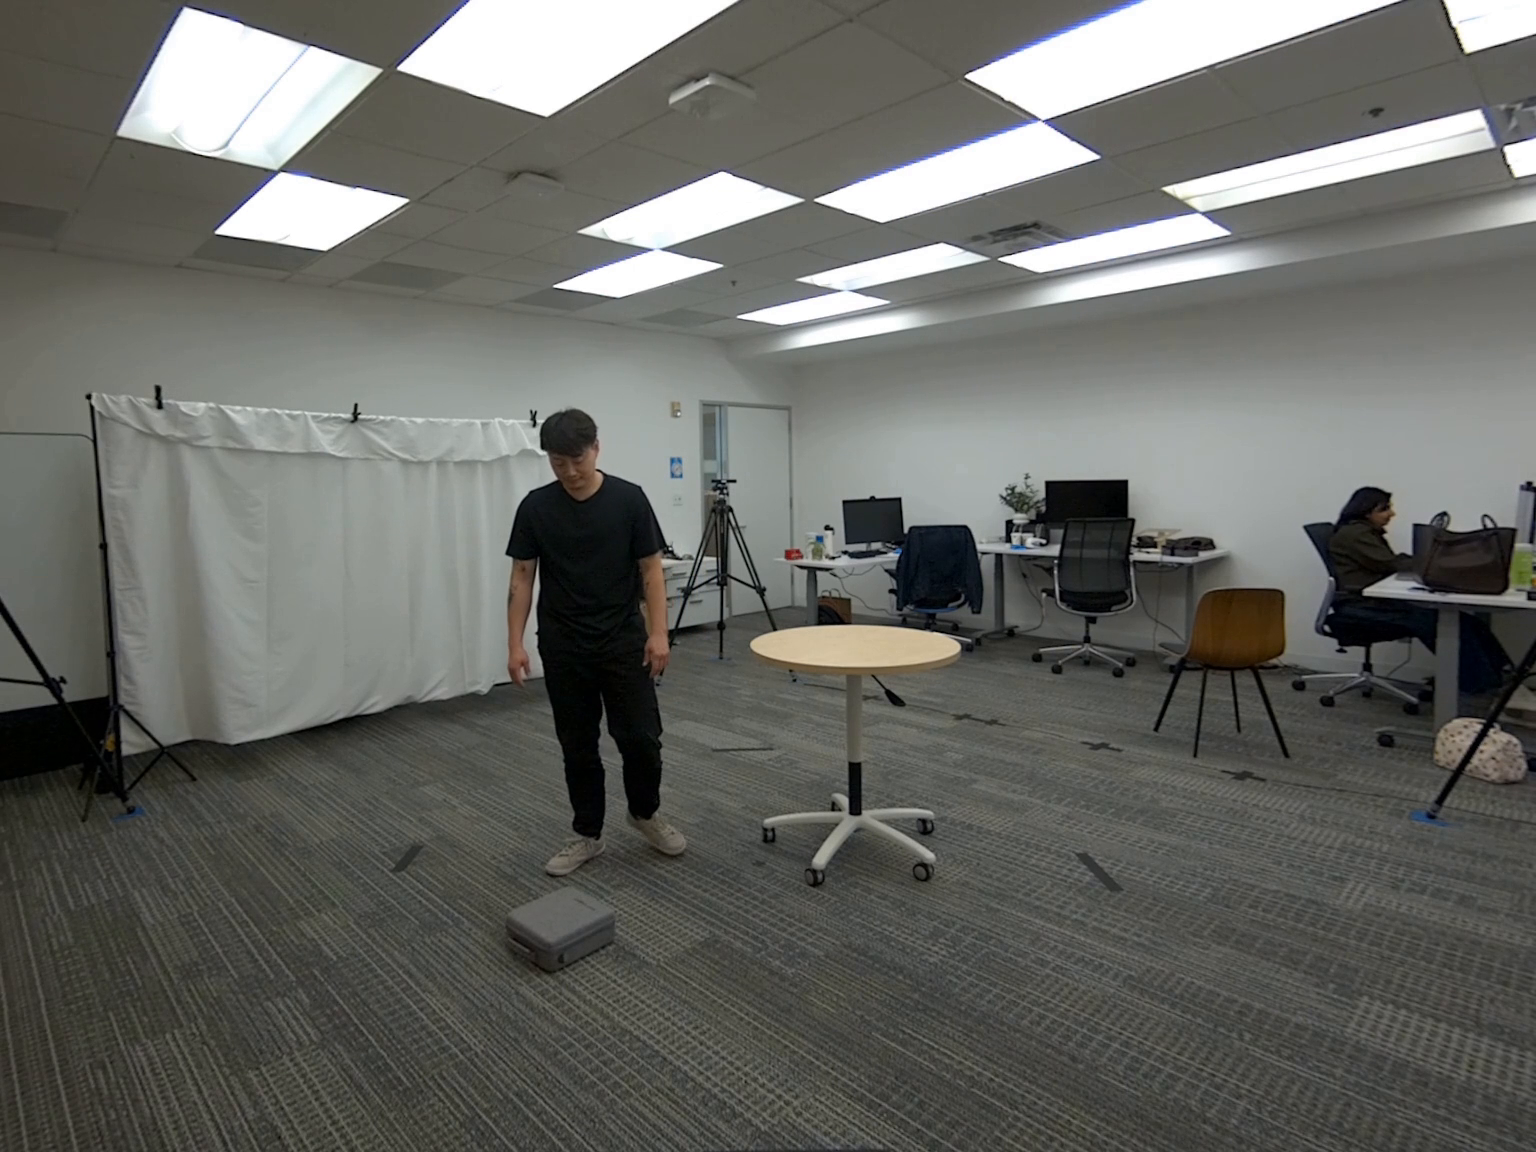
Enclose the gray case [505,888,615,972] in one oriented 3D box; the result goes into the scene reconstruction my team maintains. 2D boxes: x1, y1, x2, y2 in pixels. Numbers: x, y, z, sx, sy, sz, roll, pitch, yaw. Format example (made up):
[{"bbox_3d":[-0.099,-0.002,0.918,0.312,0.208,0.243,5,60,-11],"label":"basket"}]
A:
[{"bbox_3d":[-0.628,1.070,2.586,0.265,0.103,0.254,7,12,42],"label":"gray case"}]
